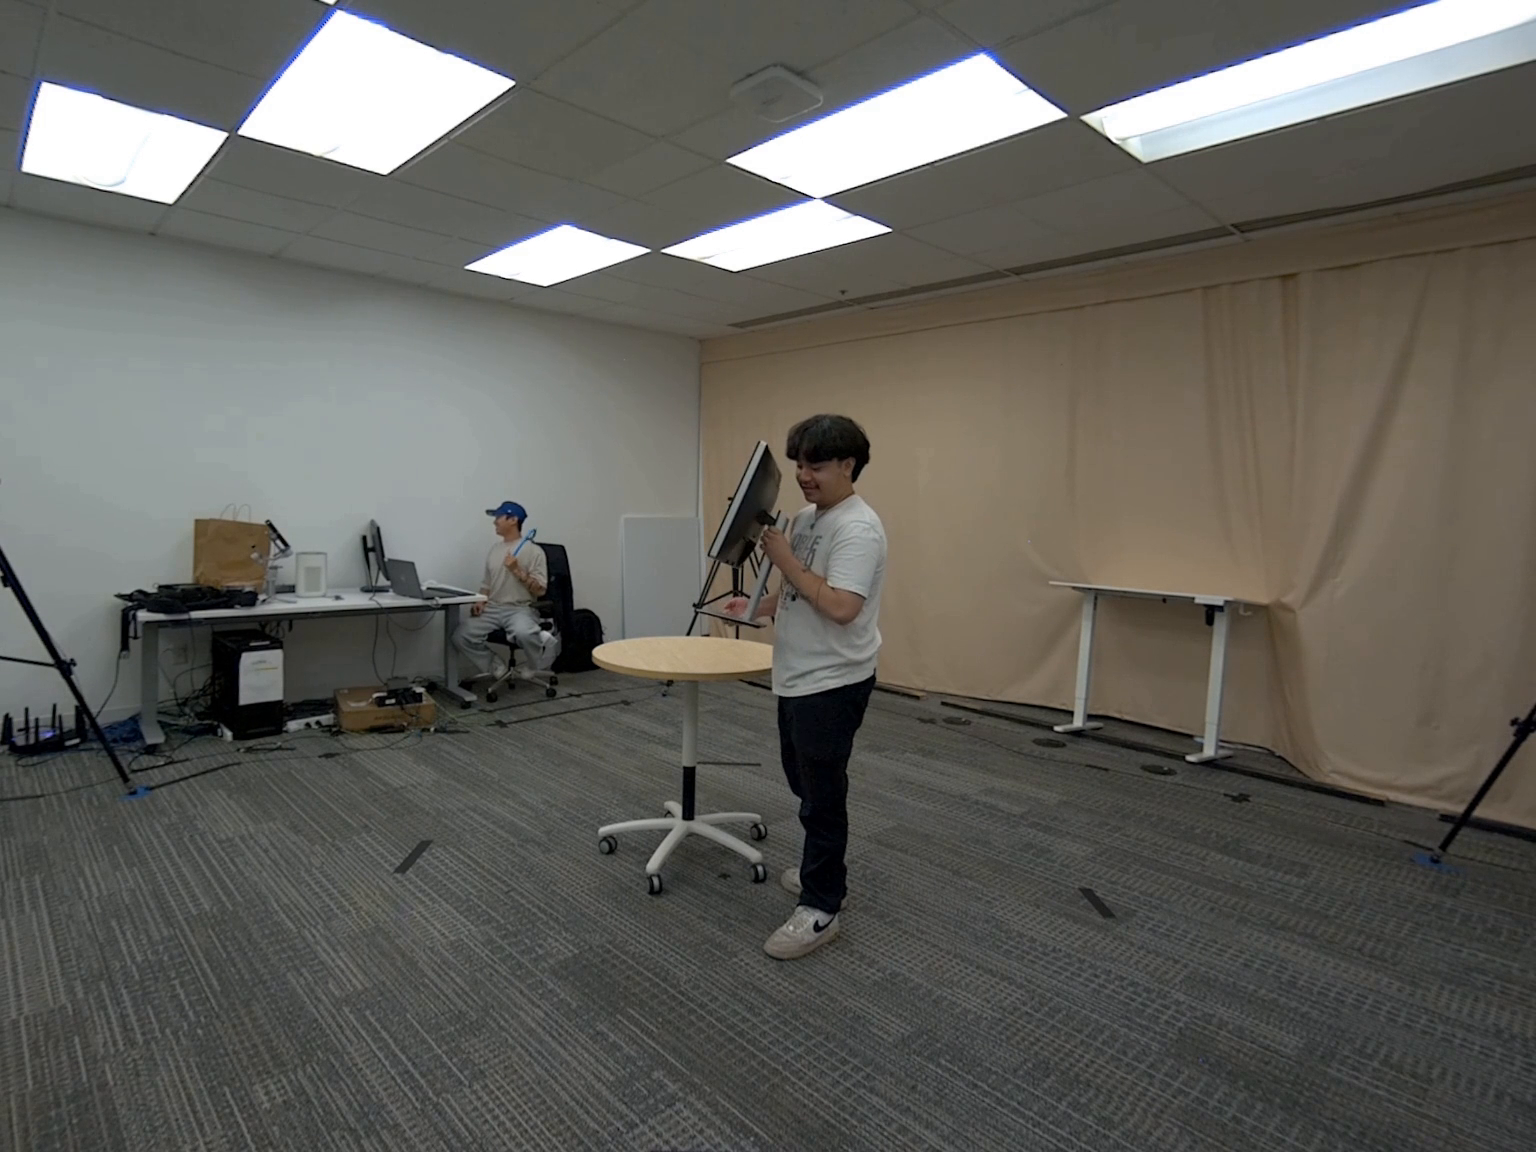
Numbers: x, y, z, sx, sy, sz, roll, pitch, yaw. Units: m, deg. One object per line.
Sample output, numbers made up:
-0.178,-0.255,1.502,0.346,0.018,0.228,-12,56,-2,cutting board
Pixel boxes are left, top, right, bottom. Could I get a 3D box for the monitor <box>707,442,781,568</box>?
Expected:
-0.022,-0.102,2.648,0.212,0.554,0.560,17,-1,7,monitor
